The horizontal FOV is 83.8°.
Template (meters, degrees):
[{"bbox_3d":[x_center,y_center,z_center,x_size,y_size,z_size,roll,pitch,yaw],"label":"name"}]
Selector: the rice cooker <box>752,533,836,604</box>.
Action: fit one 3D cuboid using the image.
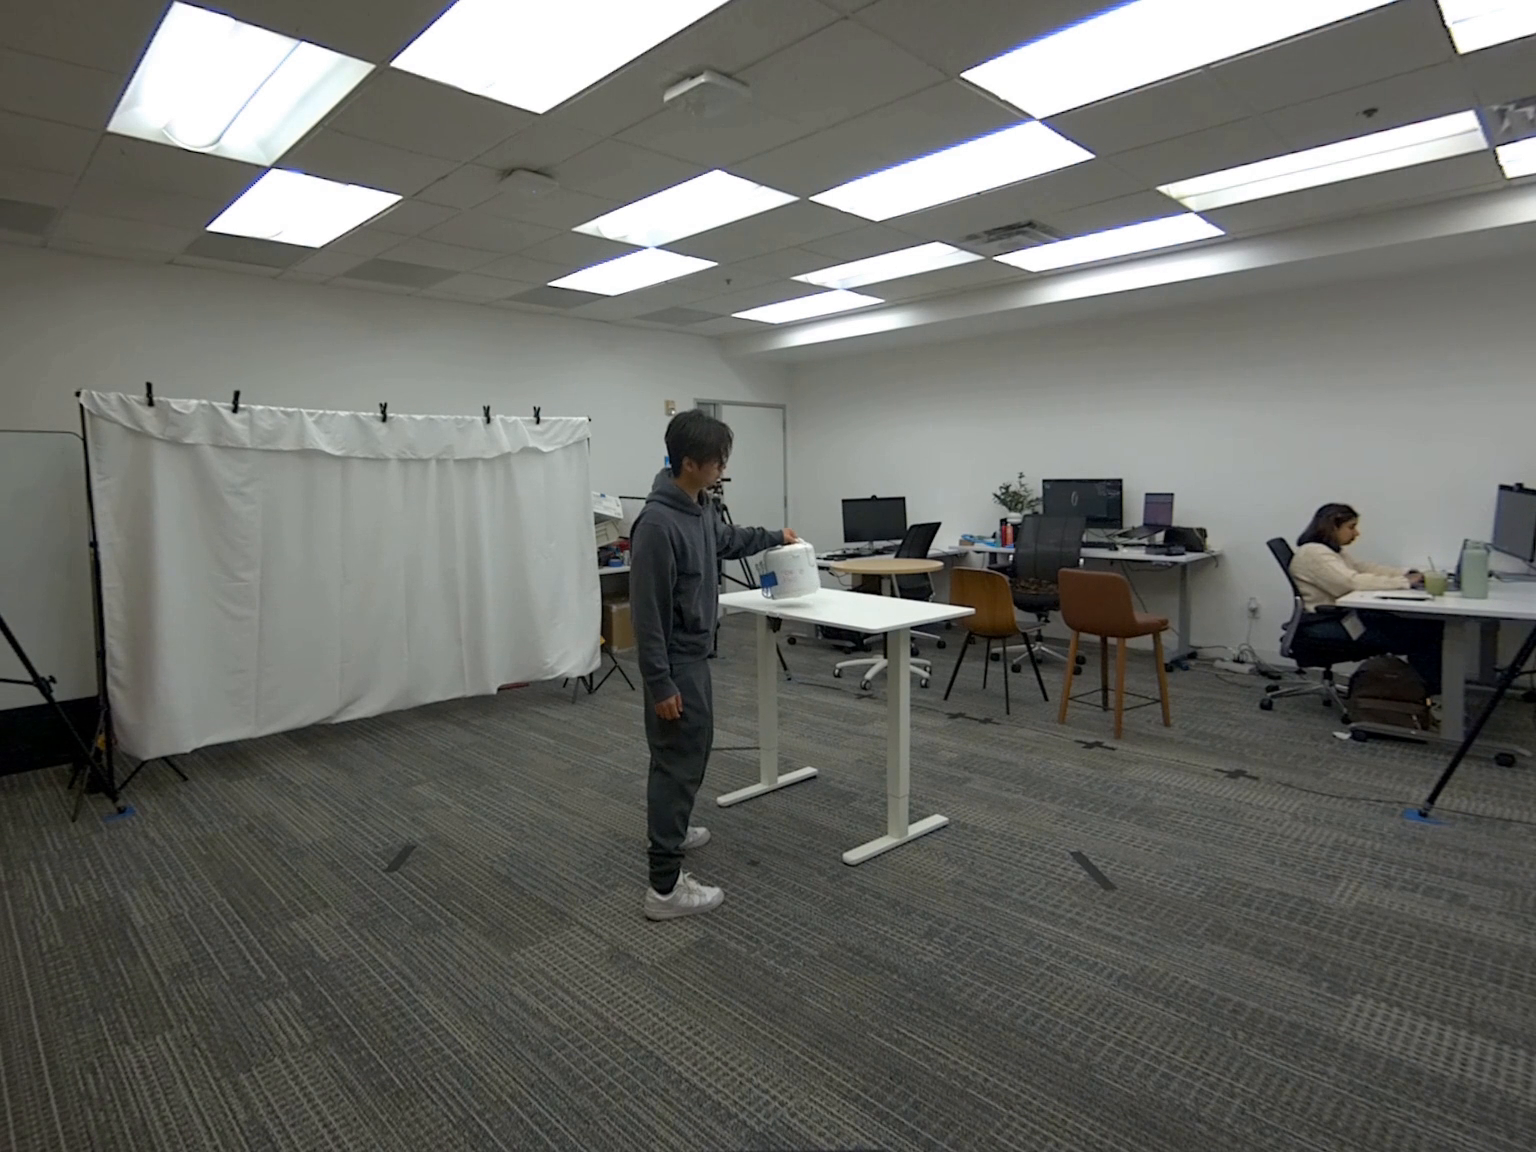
[{"bbox_3d":[0.100,-0.032,3.433,0.226,0.232,0.212,-8,2,38],"label":"rice cooker"}]
